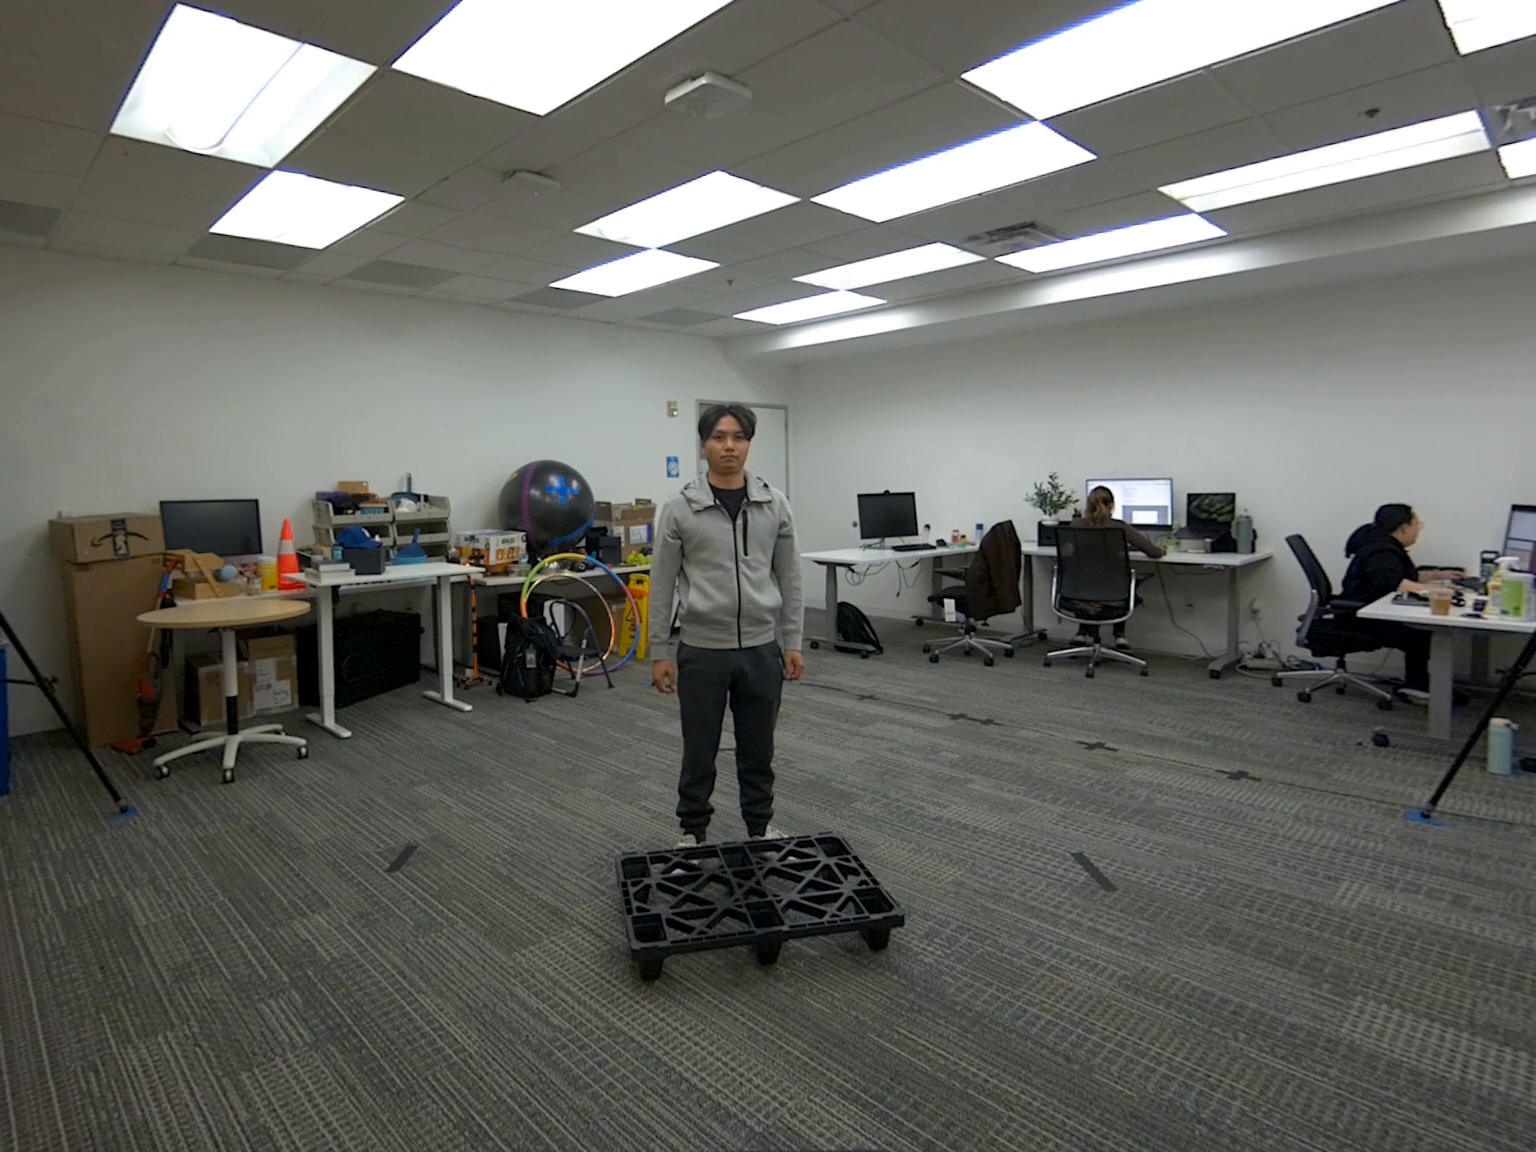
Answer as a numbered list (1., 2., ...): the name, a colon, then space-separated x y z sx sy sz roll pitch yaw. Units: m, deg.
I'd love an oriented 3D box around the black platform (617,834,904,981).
1. black platform: -0.053 1.027 2.682 0.797 0.142 0.615 -3 7 -12
